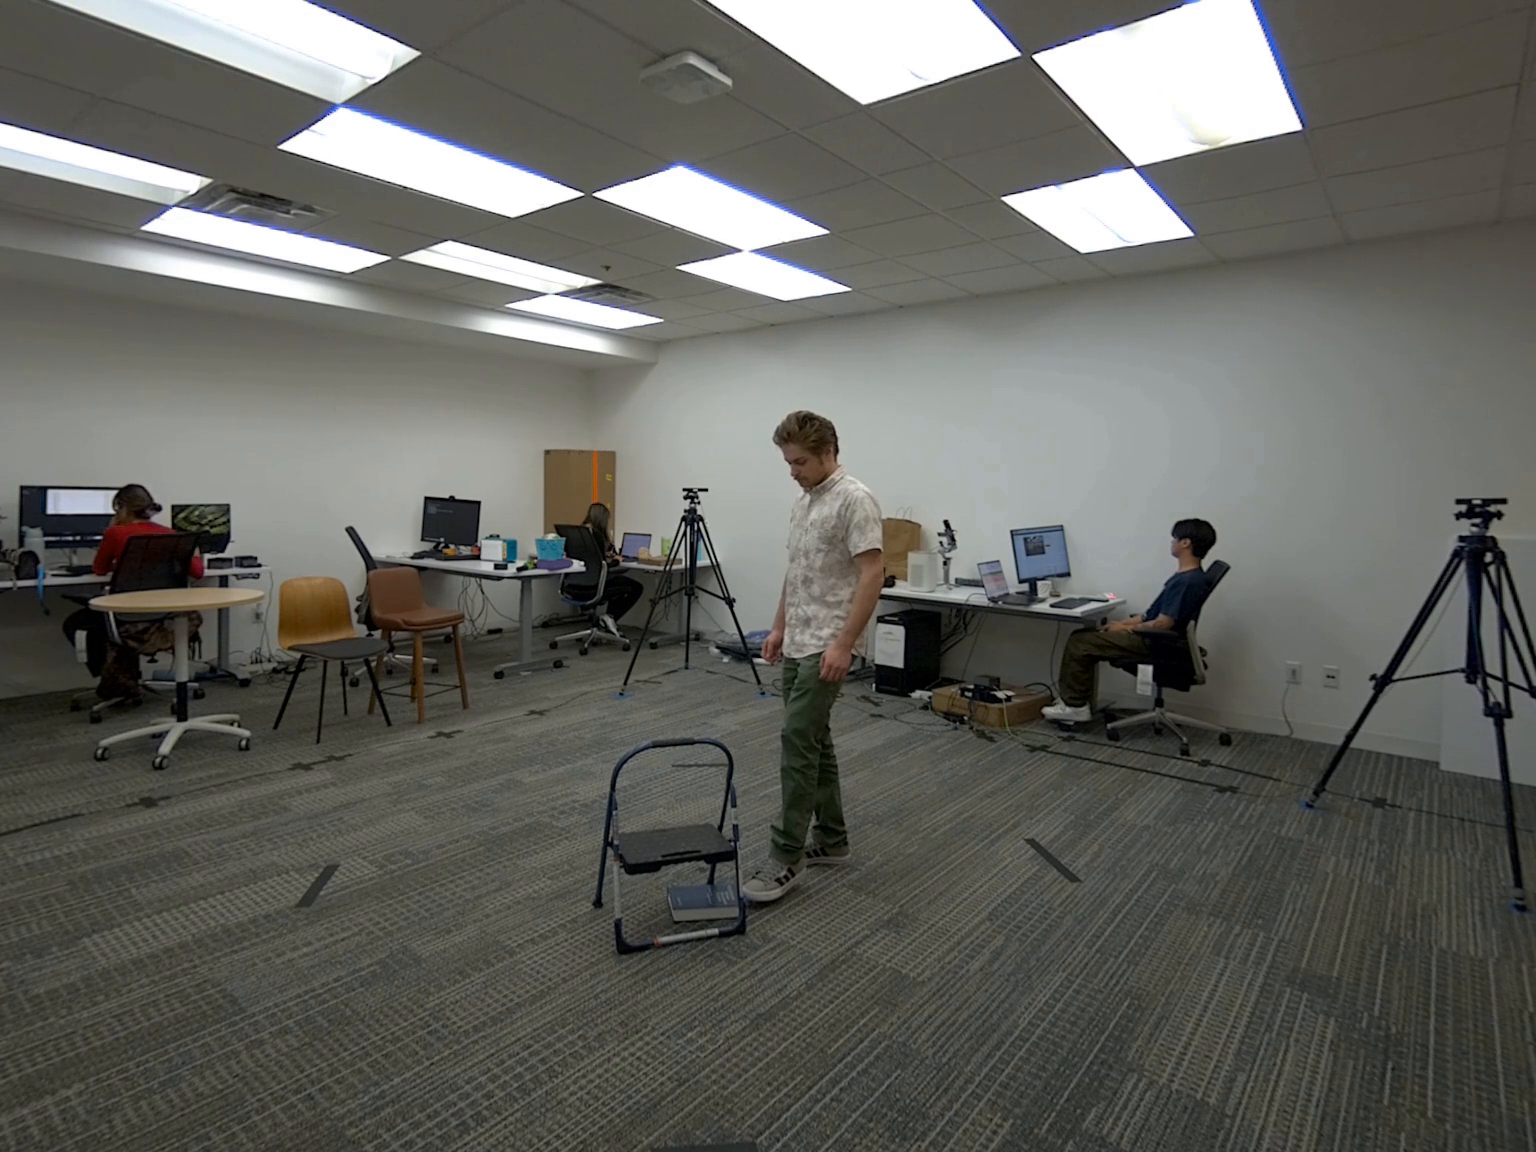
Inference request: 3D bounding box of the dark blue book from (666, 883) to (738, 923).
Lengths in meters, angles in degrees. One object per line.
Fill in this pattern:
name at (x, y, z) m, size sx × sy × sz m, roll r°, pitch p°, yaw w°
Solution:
dark blue book at (-0.209, 1.073, 2.814) m, size 0.242 × 0.045 × 0.166 m, roll 1°, pitch 6°, yaw -12°
